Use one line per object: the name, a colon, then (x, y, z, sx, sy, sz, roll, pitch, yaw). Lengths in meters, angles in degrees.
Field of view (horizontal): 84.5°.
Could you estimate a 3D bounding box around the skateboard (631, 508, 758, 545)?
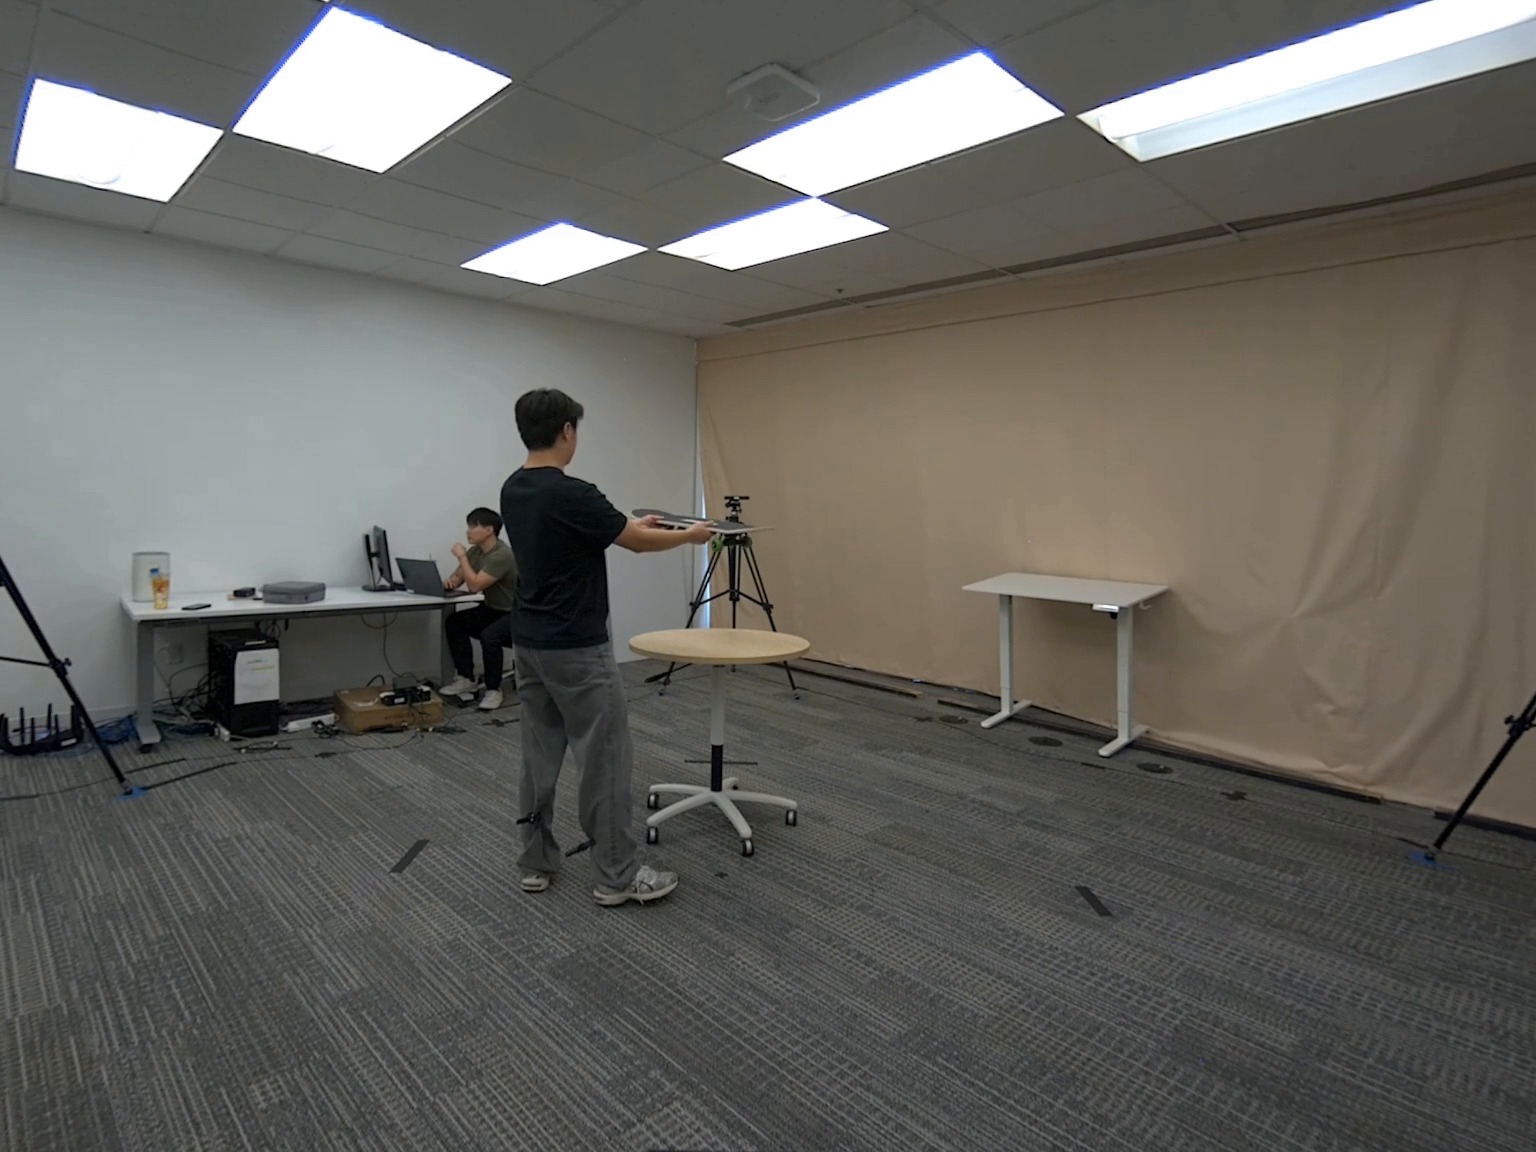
skateboard: (-0.296, -0.186, 3.366, 0.189, 0.110, 0.807, -6, 12, -42)
